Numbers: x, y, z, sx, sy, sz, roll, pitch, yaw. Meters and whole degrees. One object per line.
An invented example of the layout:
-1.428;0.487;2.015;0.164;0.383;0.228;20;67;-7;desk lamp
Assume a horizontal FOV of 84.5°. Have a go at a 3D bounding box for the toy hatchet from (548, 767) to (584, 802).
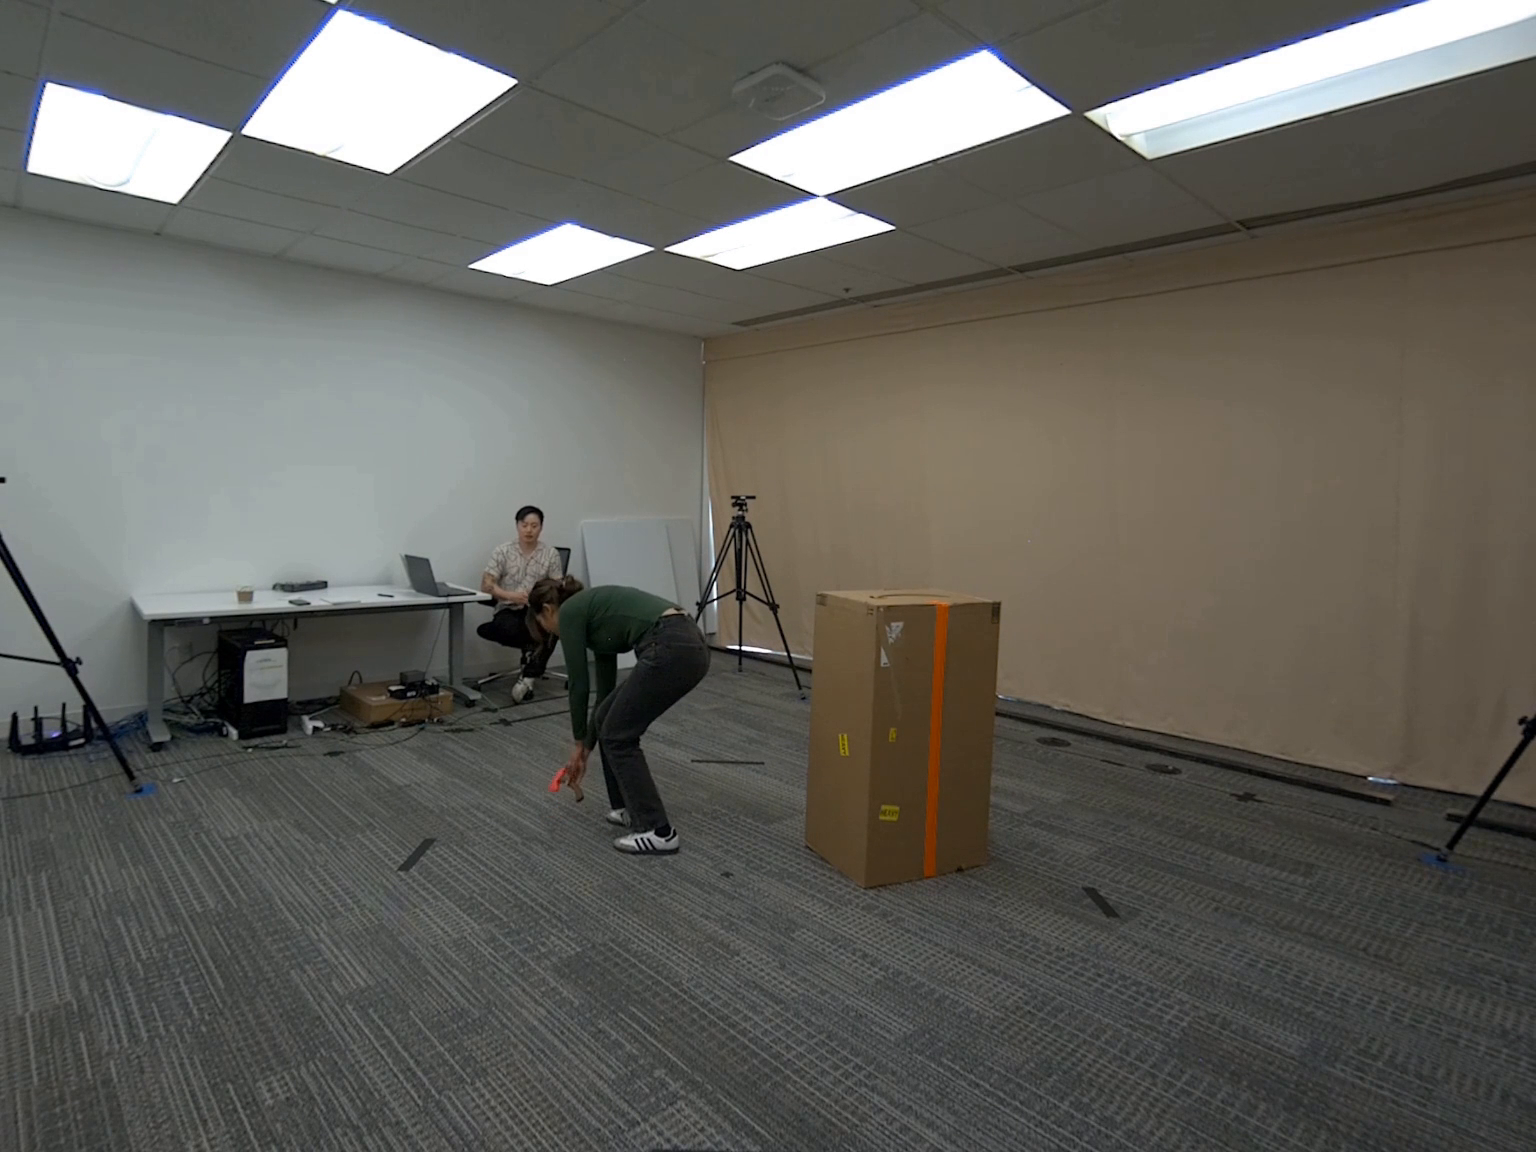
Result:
-0.864;0.906;3.557;0.131;0.029;0.278;-40;30;-10;toy hatchet
